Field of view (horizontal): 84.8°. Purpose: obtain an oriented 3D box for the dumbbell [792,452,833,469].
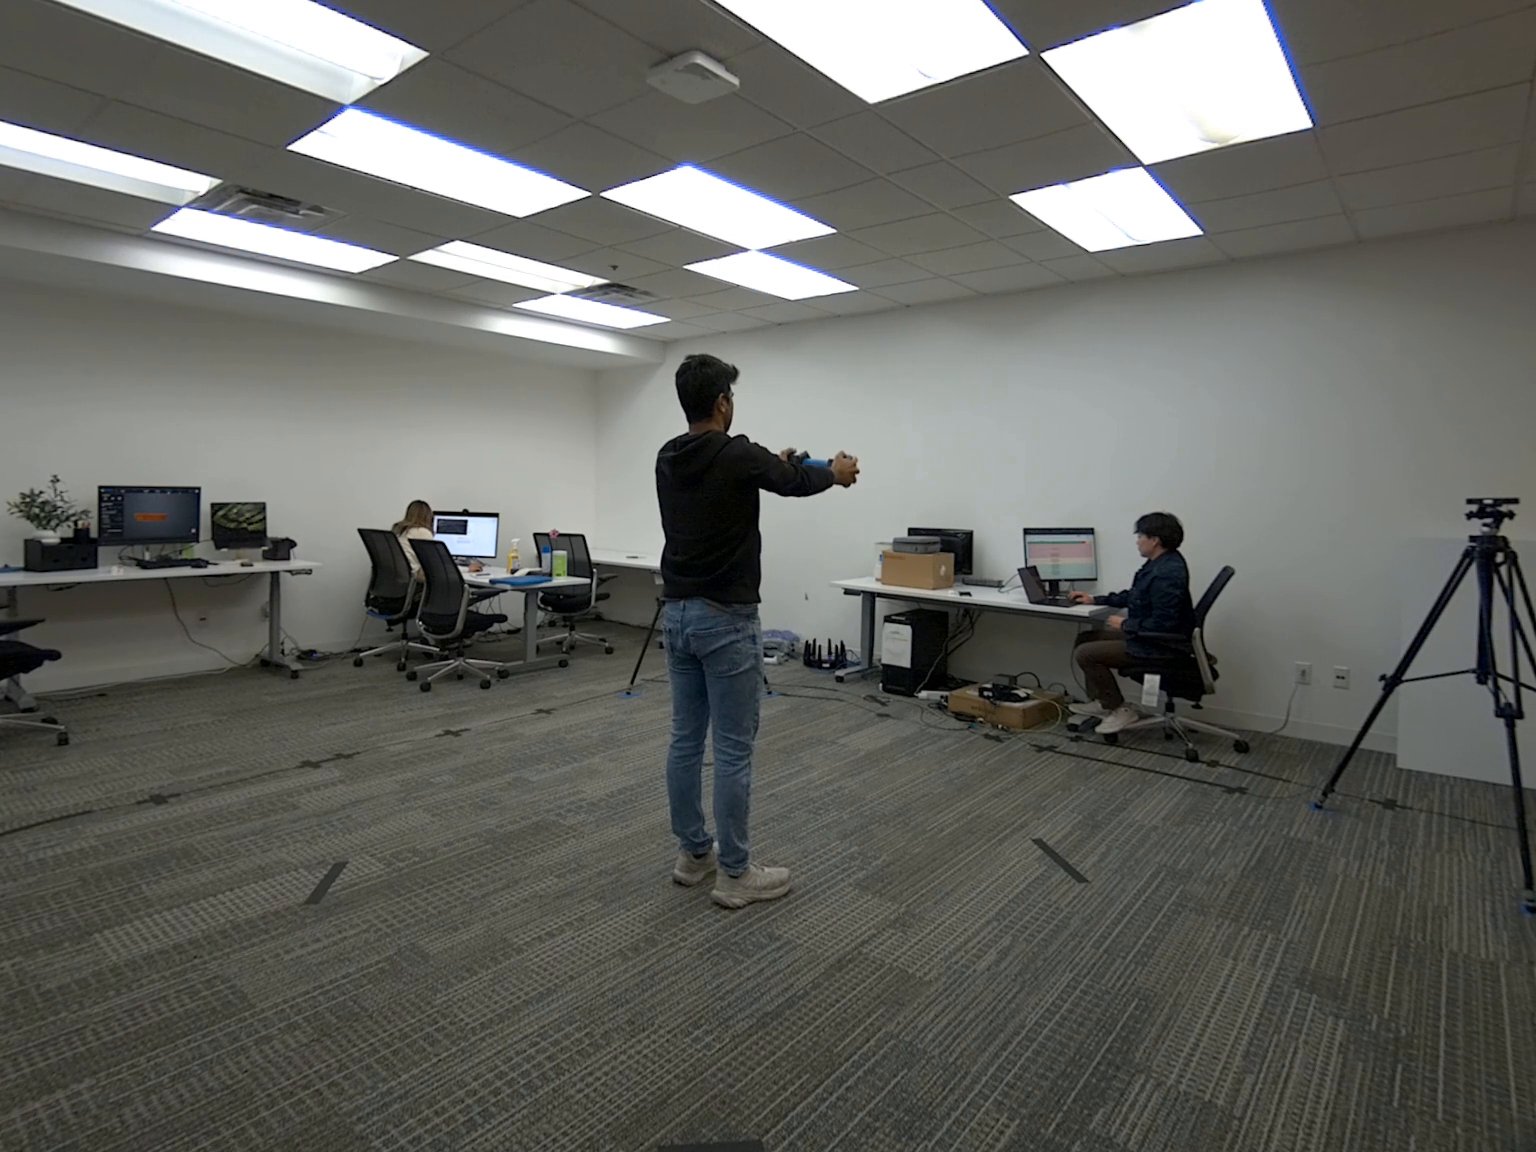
[{"bbox_3d":[0.182,-0.429,3.351,0.304,0.123,0.105,14,4,38],"label":"dumbbell"}]
